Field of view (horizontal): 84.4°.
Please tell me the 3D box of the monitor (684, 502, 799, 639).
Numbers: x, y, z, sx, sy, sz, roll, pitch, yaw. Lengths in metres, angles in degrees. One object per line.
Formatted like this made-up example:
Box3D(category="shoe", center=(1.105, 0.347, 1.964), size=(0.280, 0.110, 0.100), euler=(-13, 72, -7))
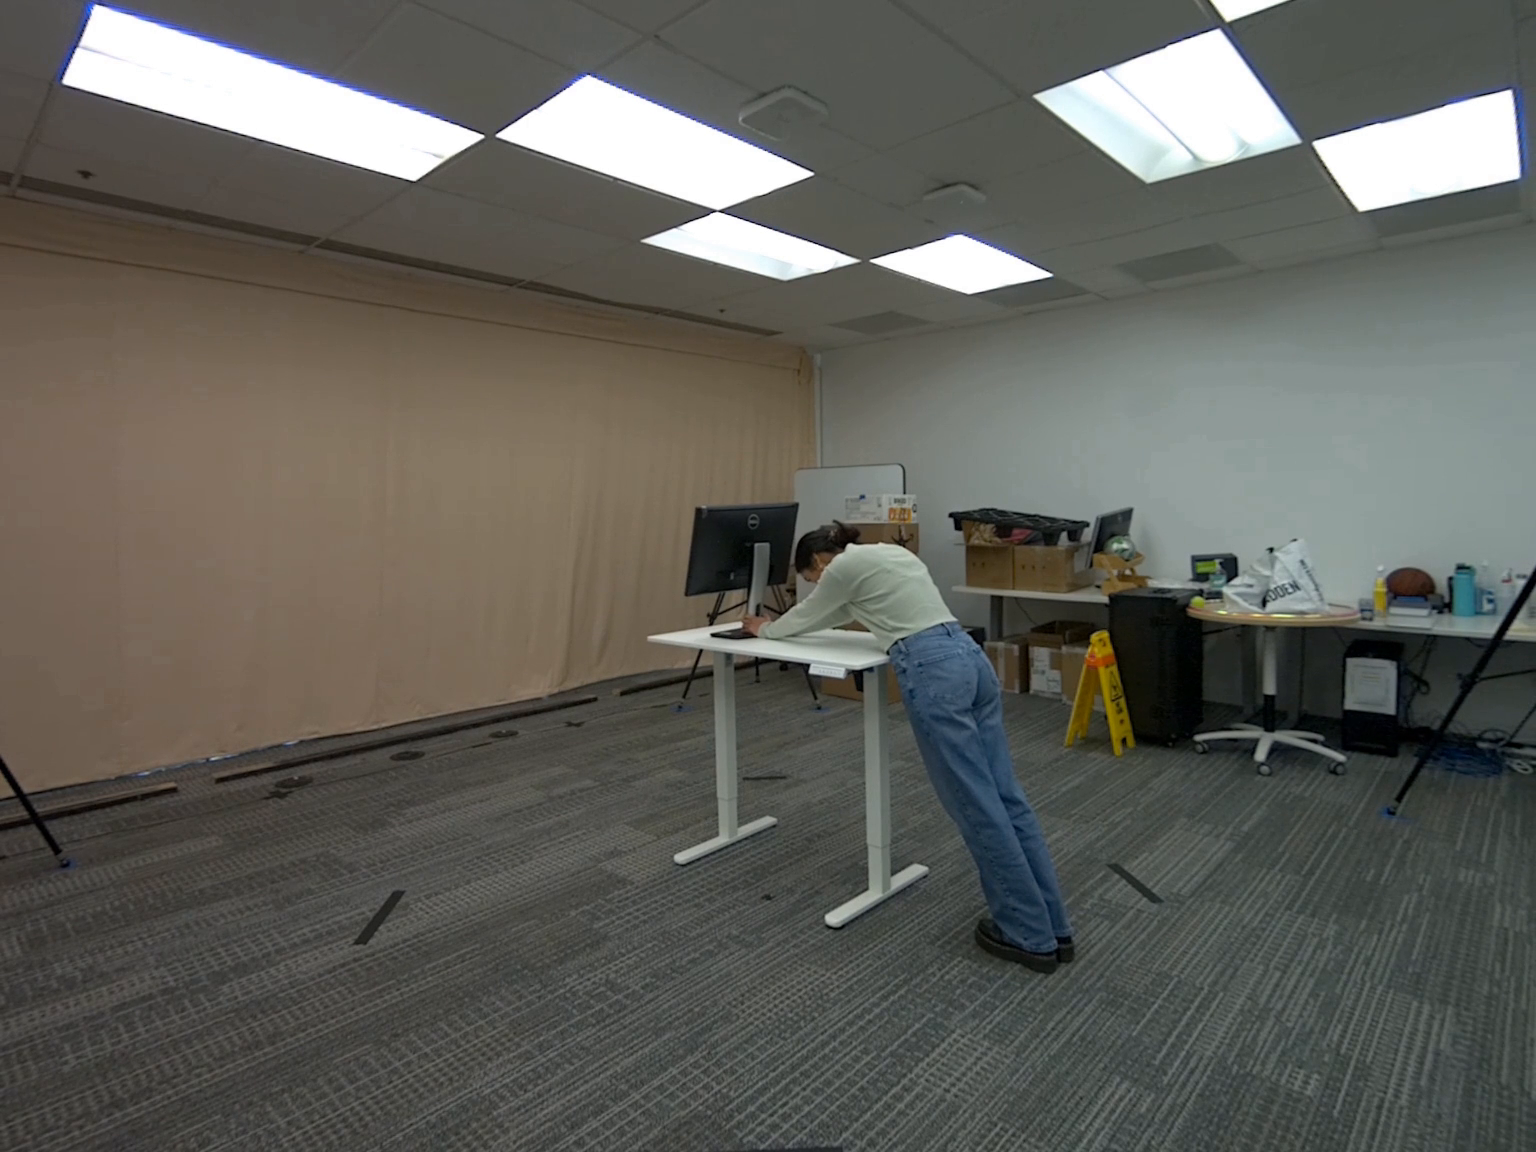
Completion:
Box3D(category="monitor", center=(-0.075, -0.022, 3.315), size=(0.523, 0.520, 0.193), euler=(-6, 8, -43))
